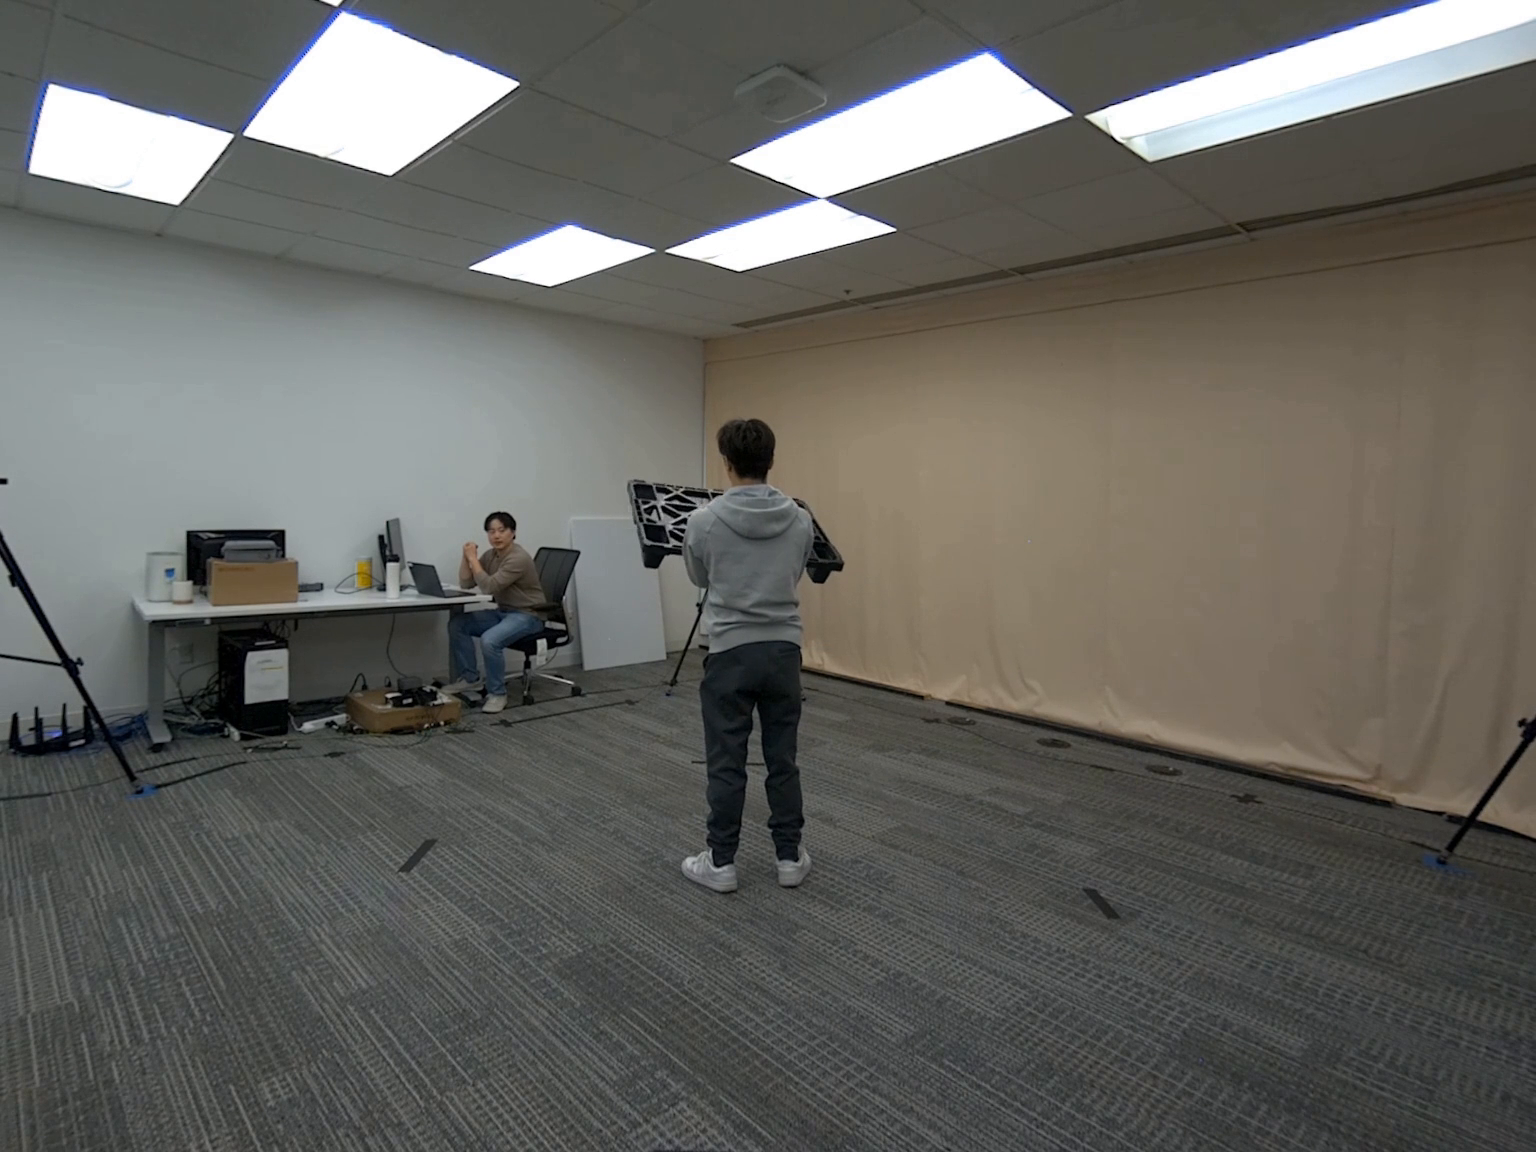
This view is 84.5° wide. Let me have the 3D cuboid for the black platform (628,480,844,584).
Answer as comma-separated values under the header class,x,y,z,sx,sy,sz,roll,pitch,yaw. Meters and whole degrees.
class,x,y,z,sx,sy,sz,roll,pitch,yaw
black platform,-0.171,-0.171,3.450,0.795,0.141,0.621,6,26,-16
